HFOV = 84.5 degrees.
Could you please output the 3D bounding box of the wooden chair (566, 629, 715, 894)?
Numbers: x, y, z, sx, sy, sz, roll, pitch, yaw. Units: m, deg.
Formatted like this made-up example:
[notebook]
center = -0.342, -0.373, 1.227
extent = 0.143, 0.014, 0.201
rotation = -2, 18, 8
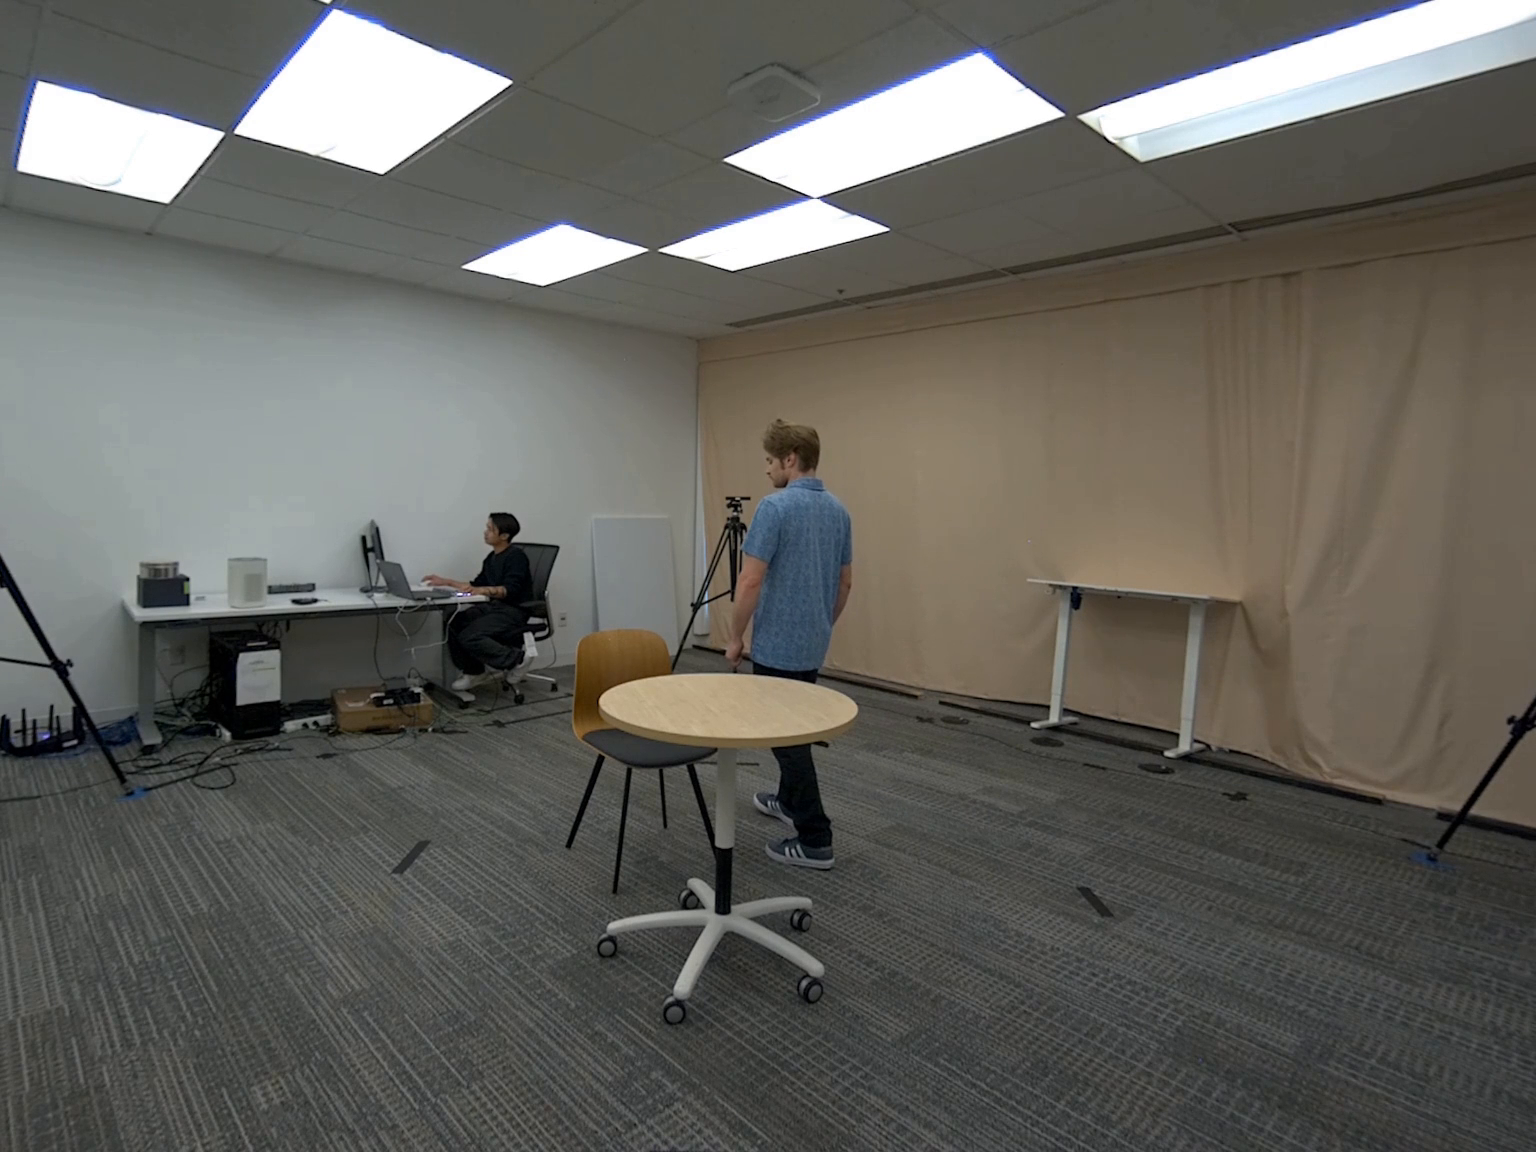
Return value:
[wooden chair]
center = -0.473, 0.662, 3.211
extent = 0.468, 0.878, 0.534
rotation = -1, -1, -34
